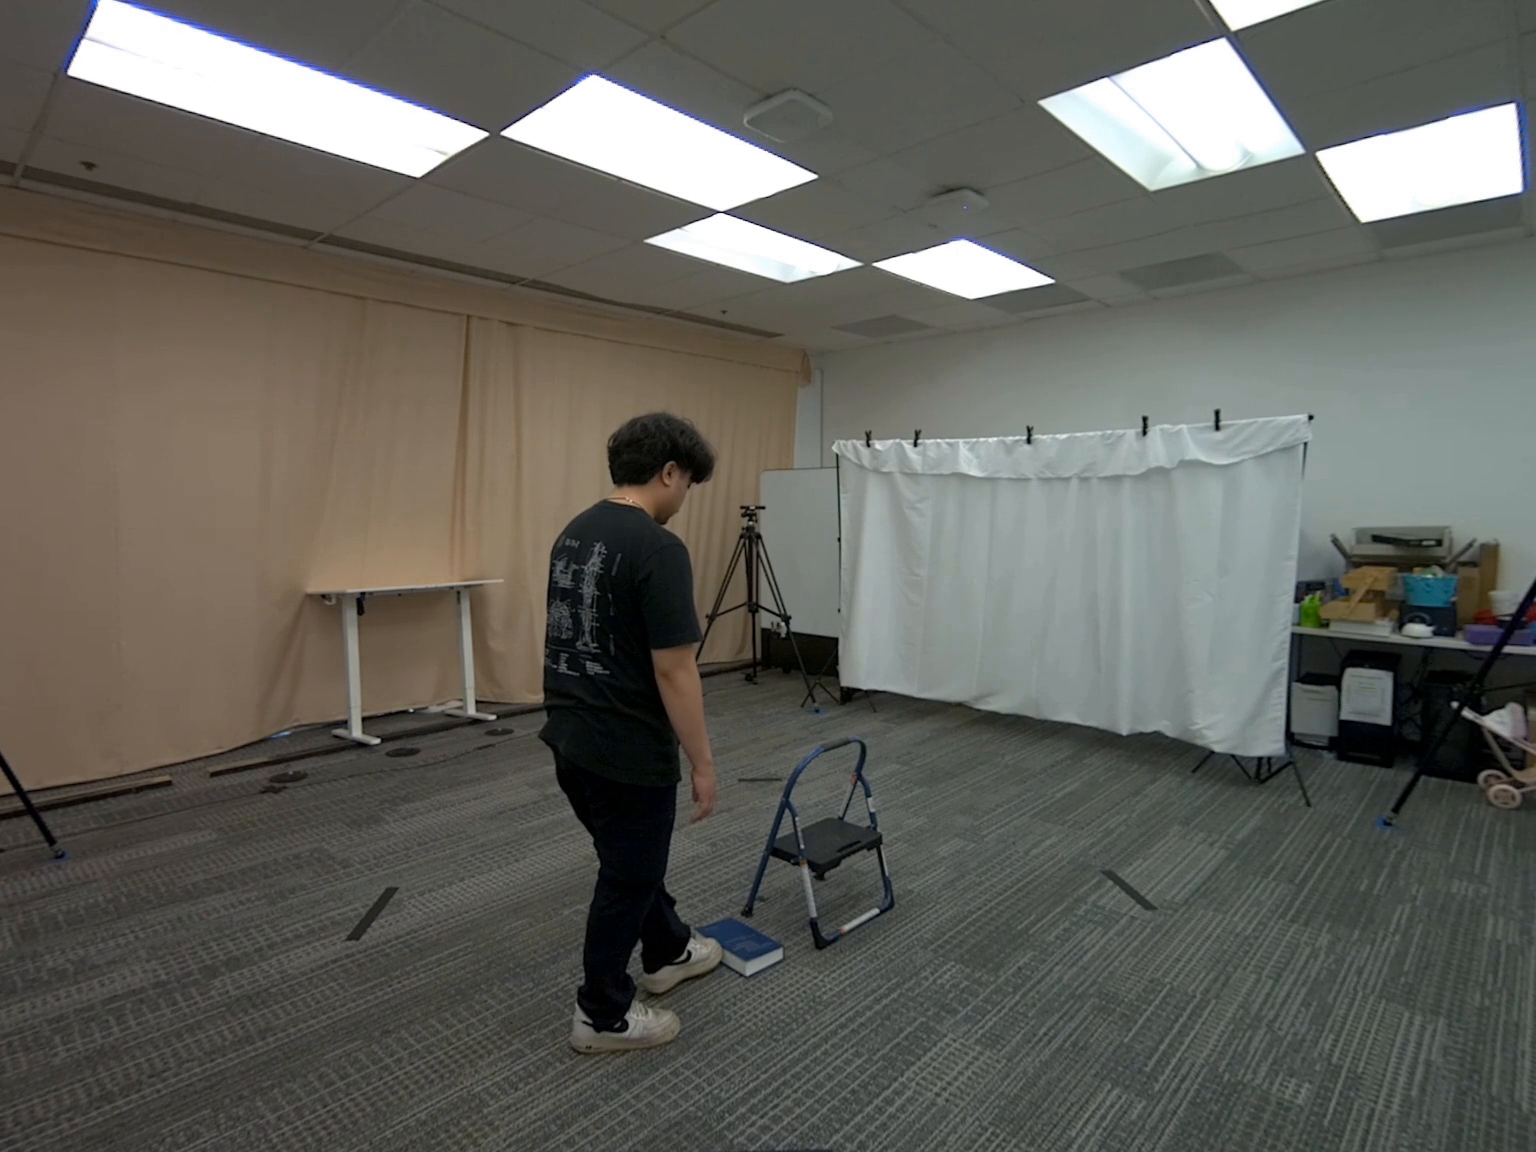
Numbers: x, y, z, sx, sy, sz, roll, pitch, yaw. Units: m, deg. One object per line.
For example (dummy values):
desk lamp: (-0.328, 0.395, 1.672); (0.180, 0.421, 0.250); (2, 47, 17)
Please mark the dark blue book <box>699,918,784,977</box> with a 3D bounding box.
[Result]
dark blue book: (-0.092, 1.151, 2.614); (0.158, 0.045, 0.253); (-1, 4, -43)
